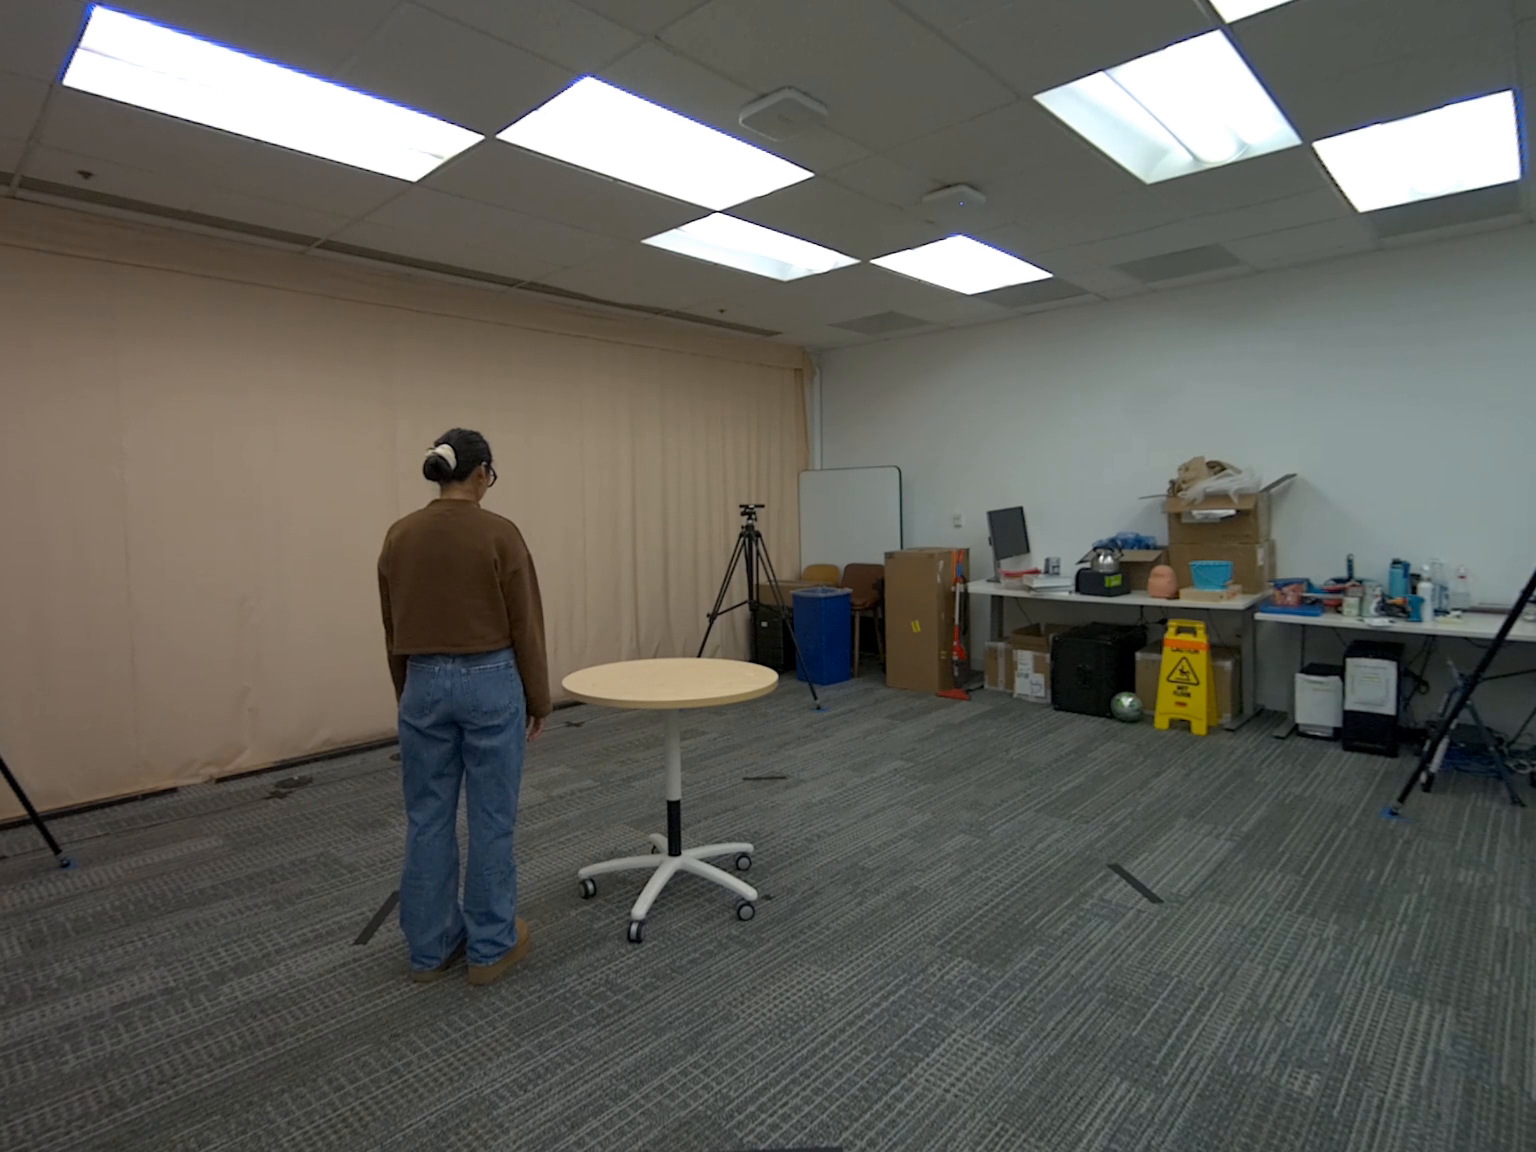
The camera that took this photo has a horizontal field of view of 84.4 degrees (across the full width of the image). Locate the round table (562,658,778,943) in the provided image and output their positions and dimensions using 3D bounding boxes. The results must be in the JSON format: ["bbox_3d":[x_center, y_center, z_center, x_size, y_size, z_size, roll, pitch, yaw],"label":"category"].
[{"bbox_3d":[-0.332,0.754,3.021,0.763,0.792,0.766,-1,4,-2],"label":"round table"}]
